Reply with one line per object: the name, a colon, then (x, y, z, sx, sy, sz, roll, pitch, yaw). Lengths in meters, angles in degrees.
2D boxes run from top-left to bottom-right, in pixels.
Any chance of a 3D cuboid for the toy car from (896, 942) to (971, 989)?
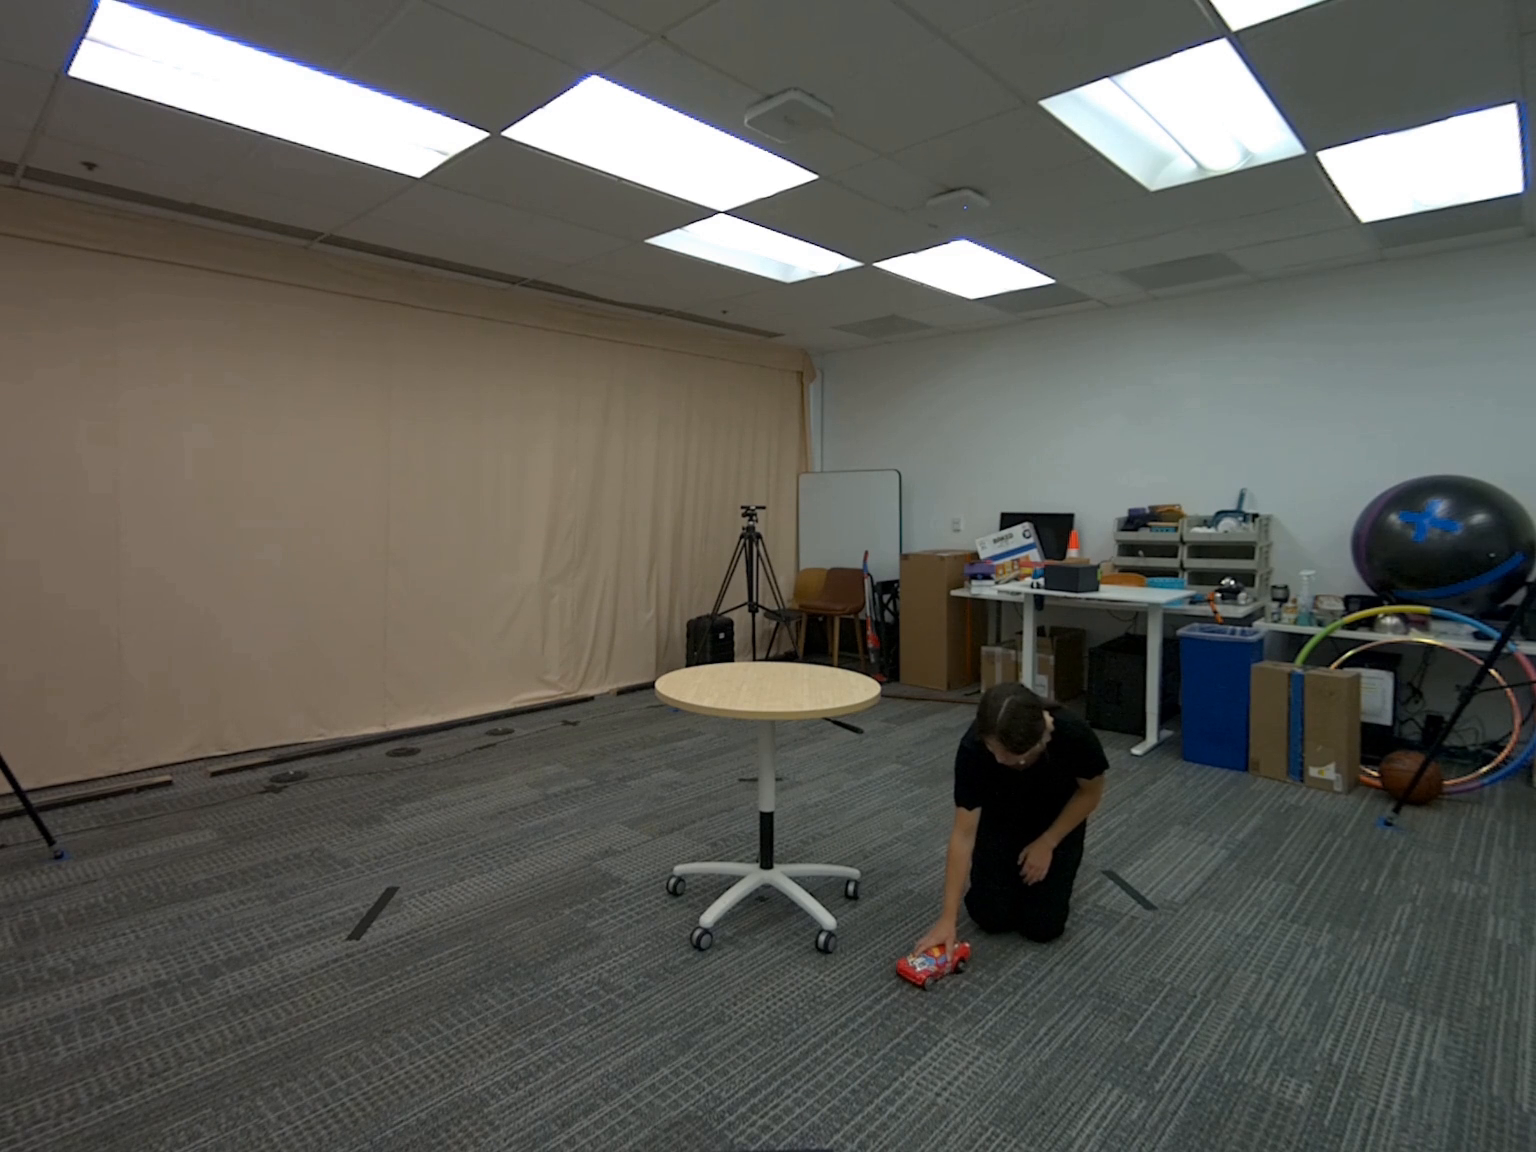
toy car: (0.506, 1.151, 2.512, 0.248, 0.082, 0.134, -17, 14, -36)
